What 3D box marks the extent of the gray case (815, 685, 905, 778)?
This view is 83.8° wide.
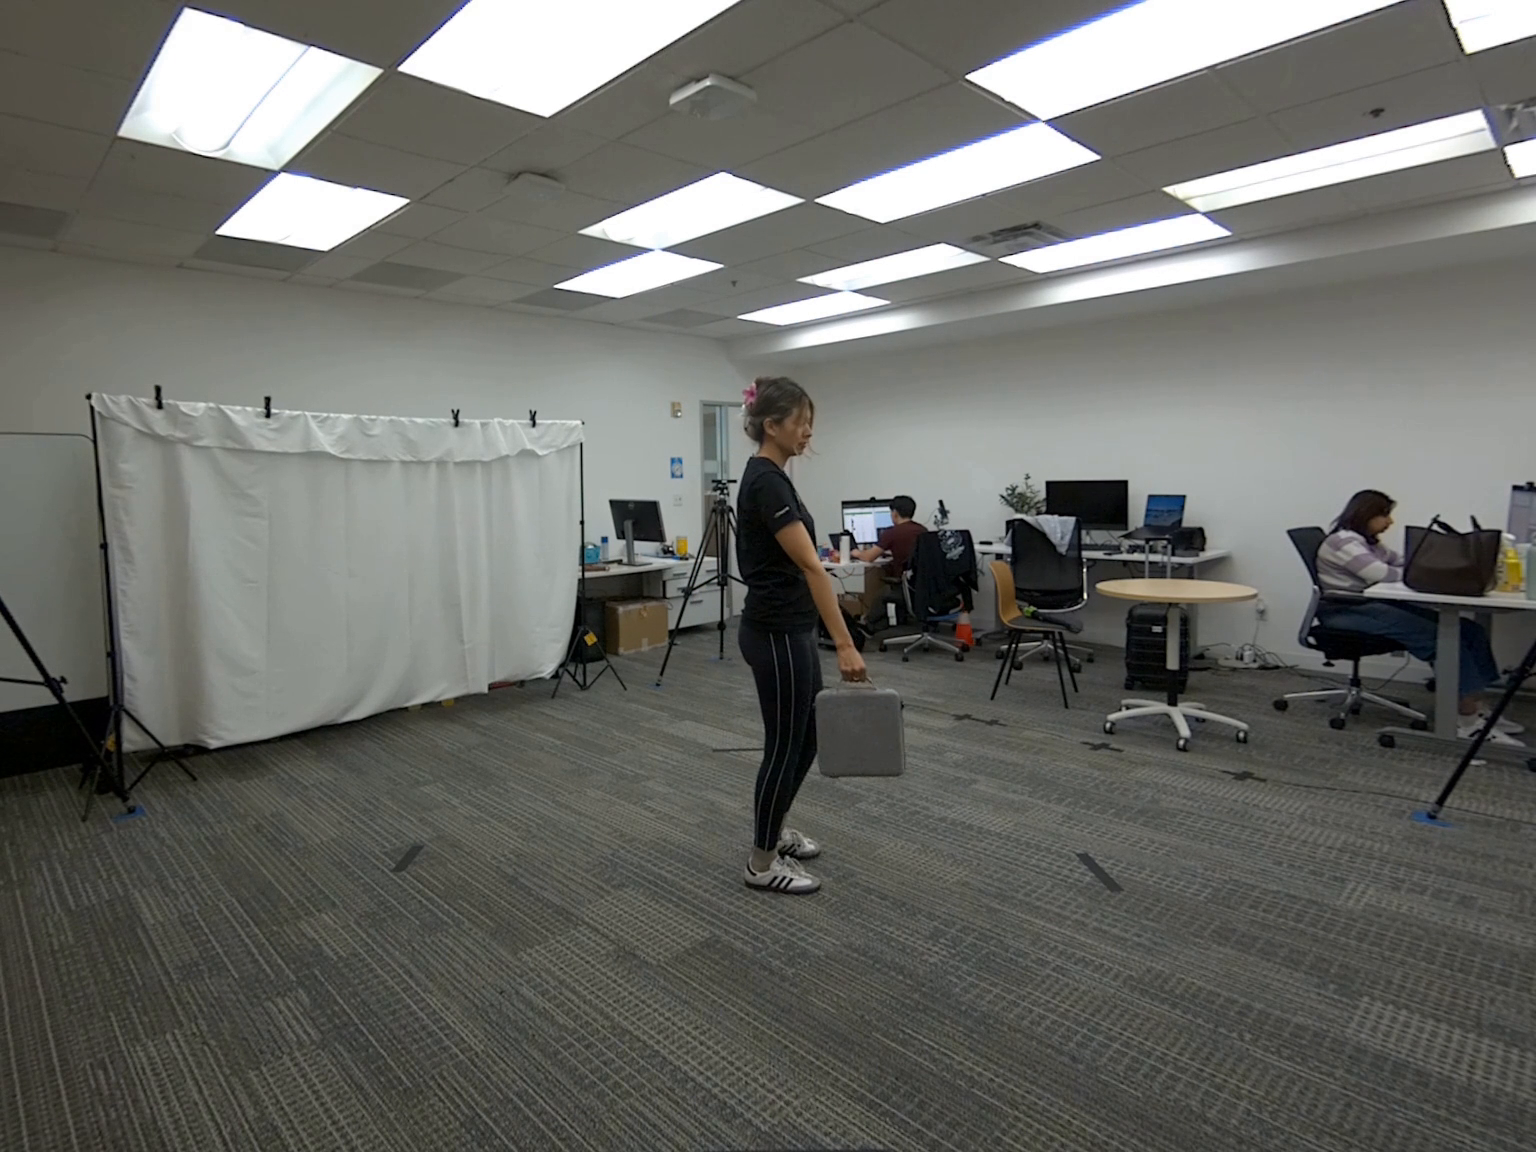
[{"bbox_3d":[0.276,0.459,2.534,0.260,0.262,0.102,-3,-5,14],"label":"gray case"}]
